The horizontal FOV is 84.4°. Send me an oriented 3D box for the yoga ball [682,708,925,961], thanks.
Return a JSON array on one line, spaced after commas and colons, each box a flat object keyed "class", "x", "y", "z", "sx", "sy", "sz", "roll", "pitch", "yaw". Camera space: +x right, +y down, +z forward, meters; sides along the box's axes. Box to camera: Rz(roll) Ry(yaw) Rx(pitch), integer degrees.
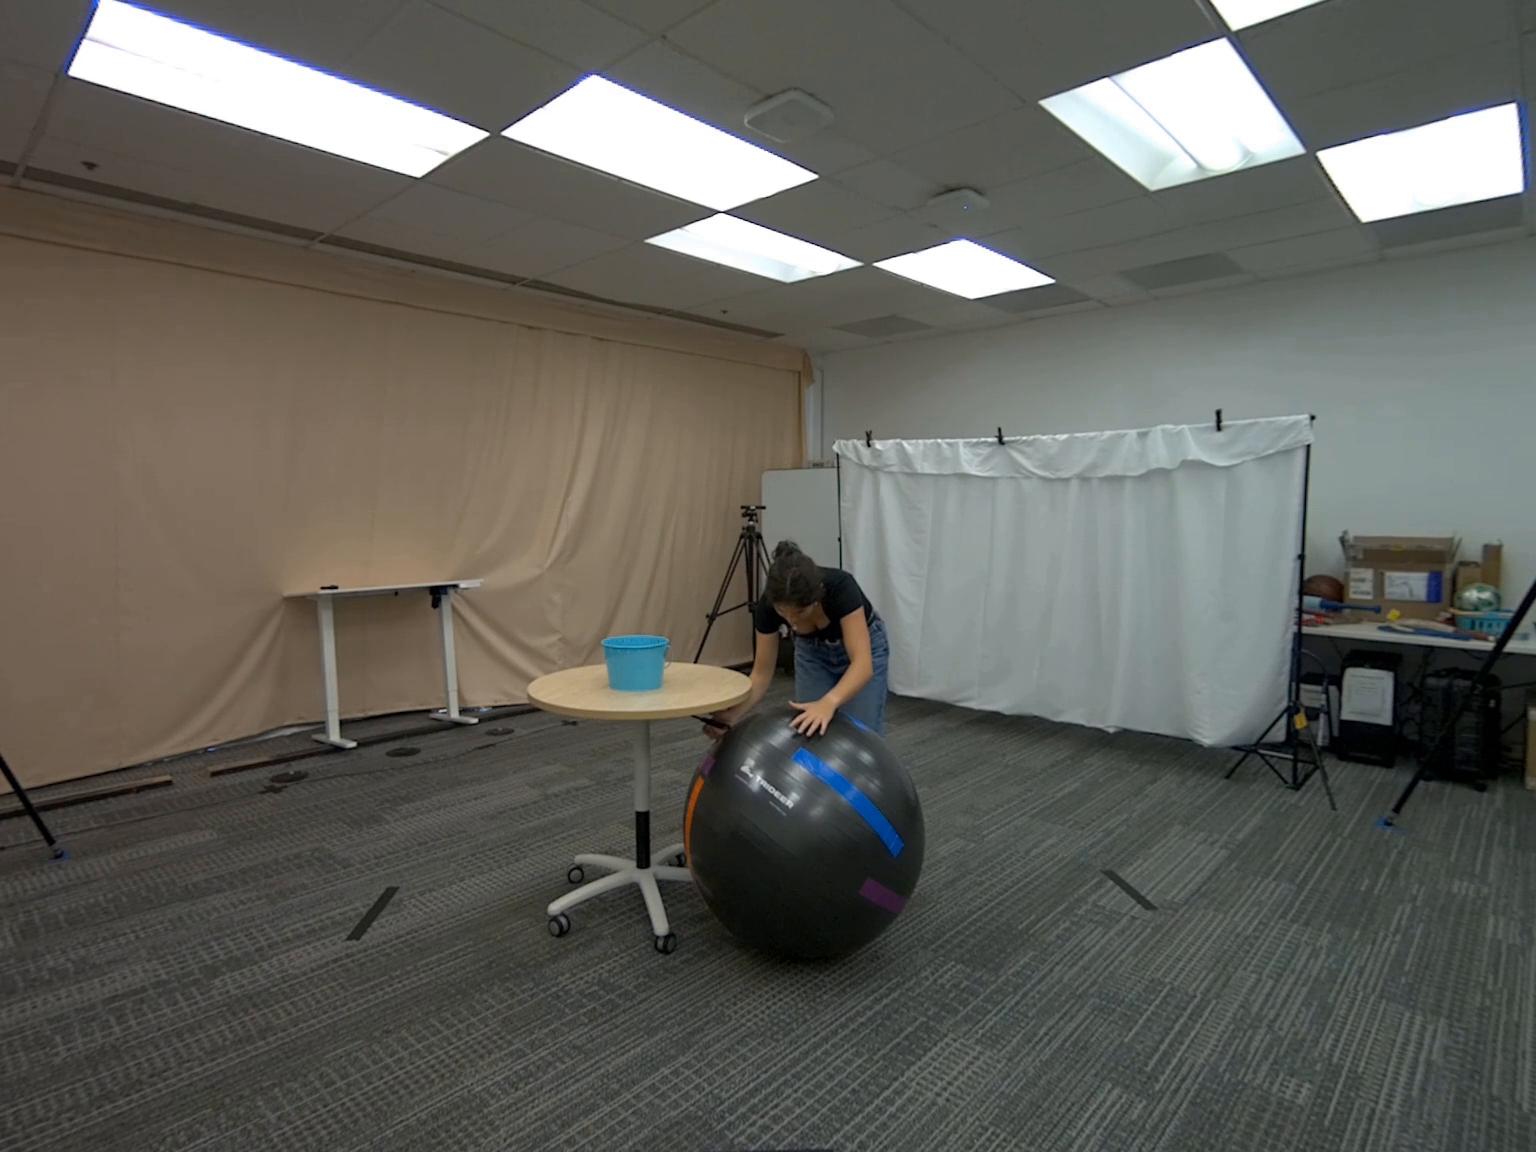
[{"class": "yoga ball", "x": 0.117, "y": 0.808, "z": 2.667, "sx": 0.757, "sy": 0.756, "sz": 0.760, "roll": 0, "pitch": 4, "yaw": -2}]
